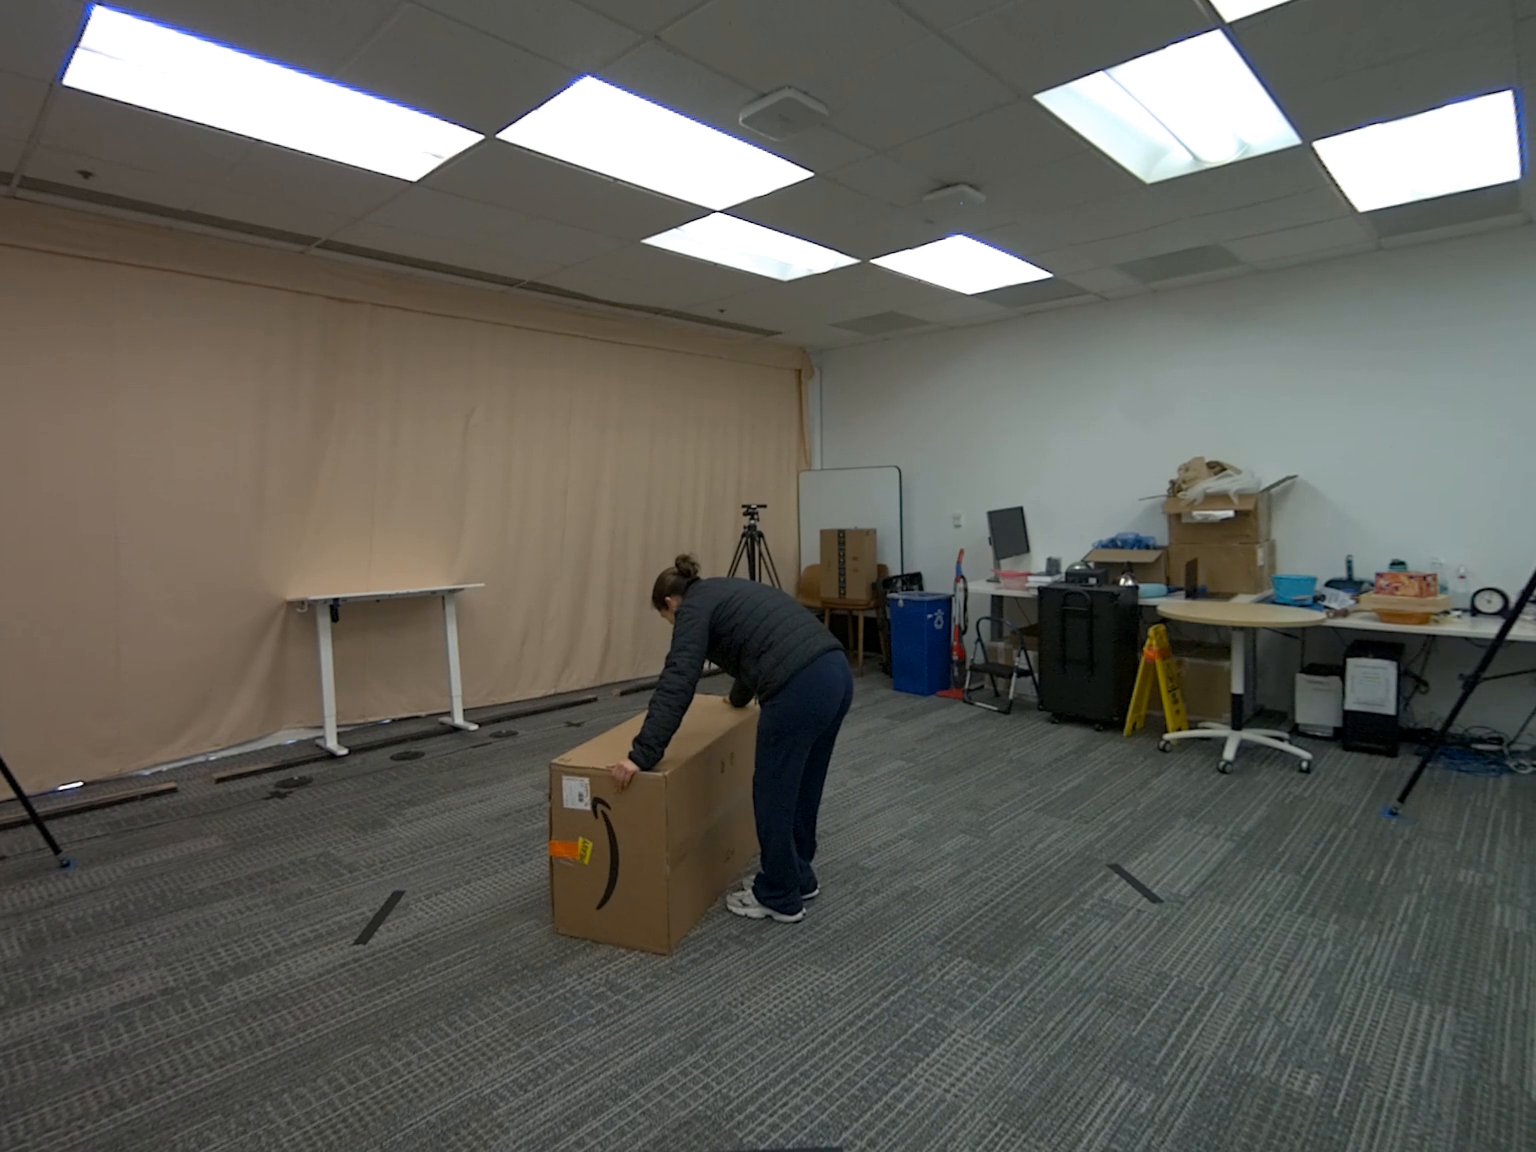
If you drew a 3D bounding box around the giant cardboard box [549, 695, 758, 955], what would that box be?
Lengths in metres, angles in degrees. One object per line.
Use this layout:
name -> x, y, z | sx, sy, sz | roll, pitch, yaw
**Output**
giant cardboard box -> -0.334, 0.845, 3.144 | 0.456, 0.582, 1.008 | 2, 5, 19
